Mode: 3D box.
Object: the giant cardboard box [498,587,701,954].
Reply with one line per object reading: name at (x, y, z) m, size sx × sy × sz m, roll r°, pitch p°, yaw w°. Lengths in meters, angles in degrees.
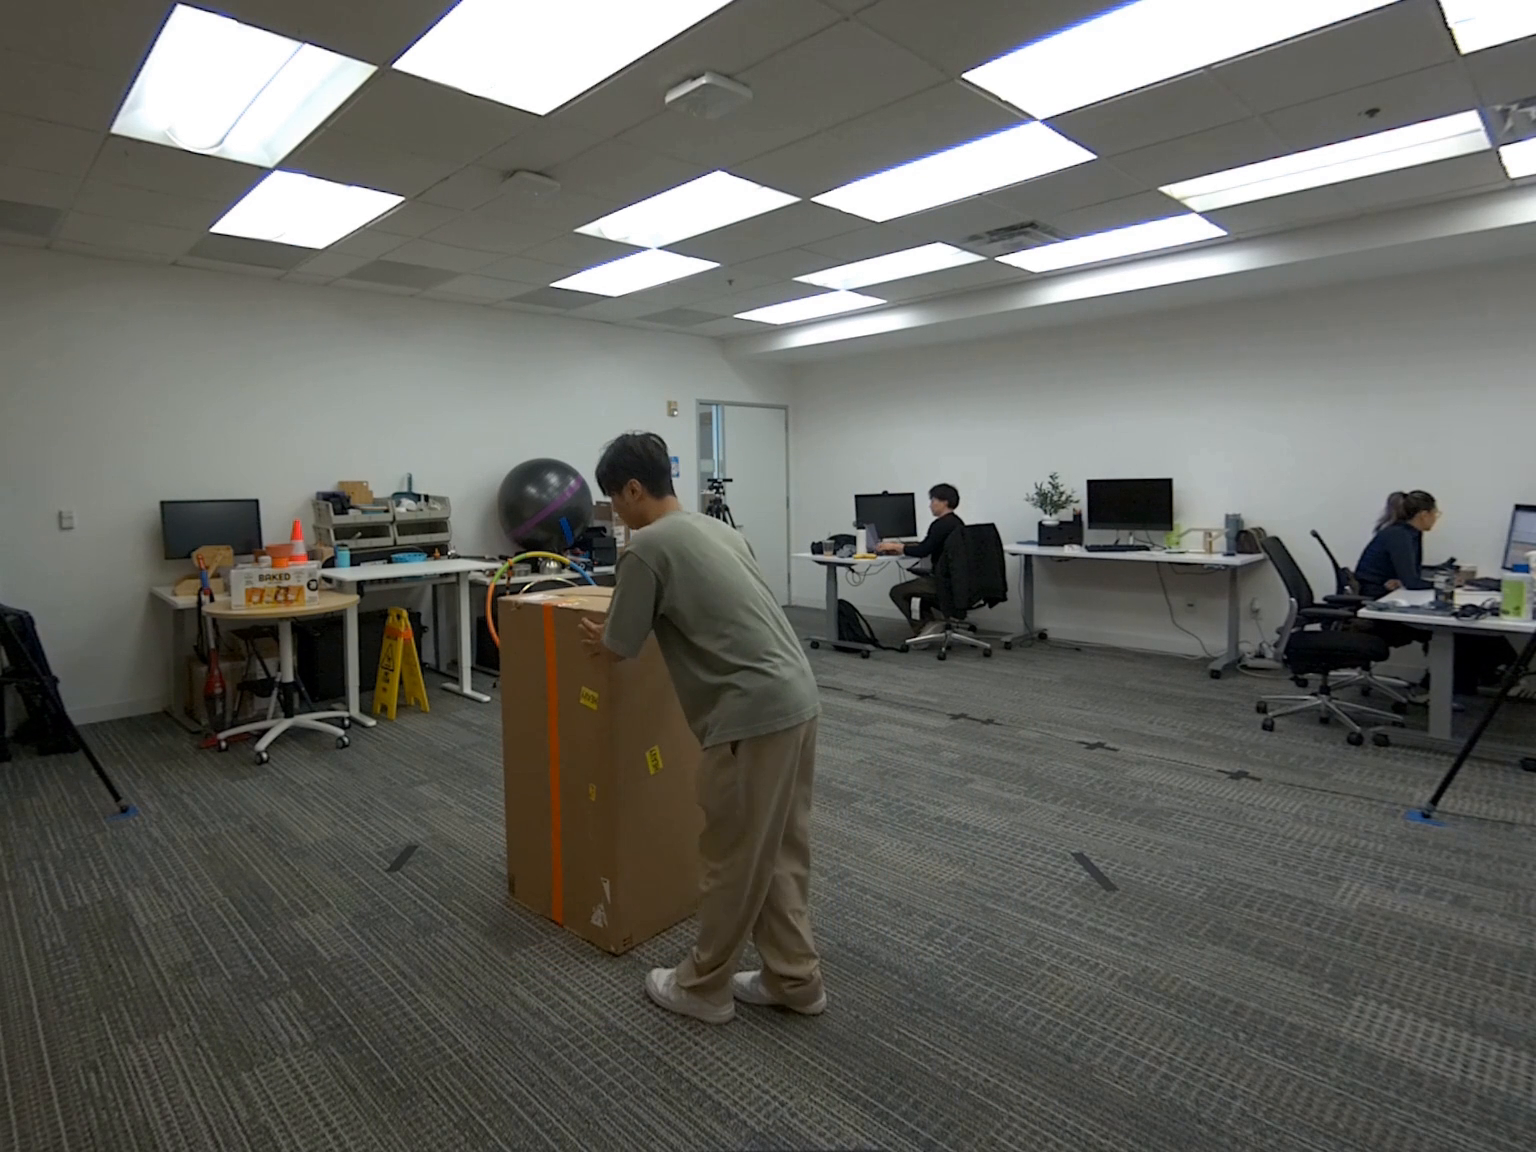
giant cardboard box at (-0.544, 0.579, 2.829) m, size 0.595 × 1.022 × 0.415 m, roll 2°, pitch 5°, yaw 41°
